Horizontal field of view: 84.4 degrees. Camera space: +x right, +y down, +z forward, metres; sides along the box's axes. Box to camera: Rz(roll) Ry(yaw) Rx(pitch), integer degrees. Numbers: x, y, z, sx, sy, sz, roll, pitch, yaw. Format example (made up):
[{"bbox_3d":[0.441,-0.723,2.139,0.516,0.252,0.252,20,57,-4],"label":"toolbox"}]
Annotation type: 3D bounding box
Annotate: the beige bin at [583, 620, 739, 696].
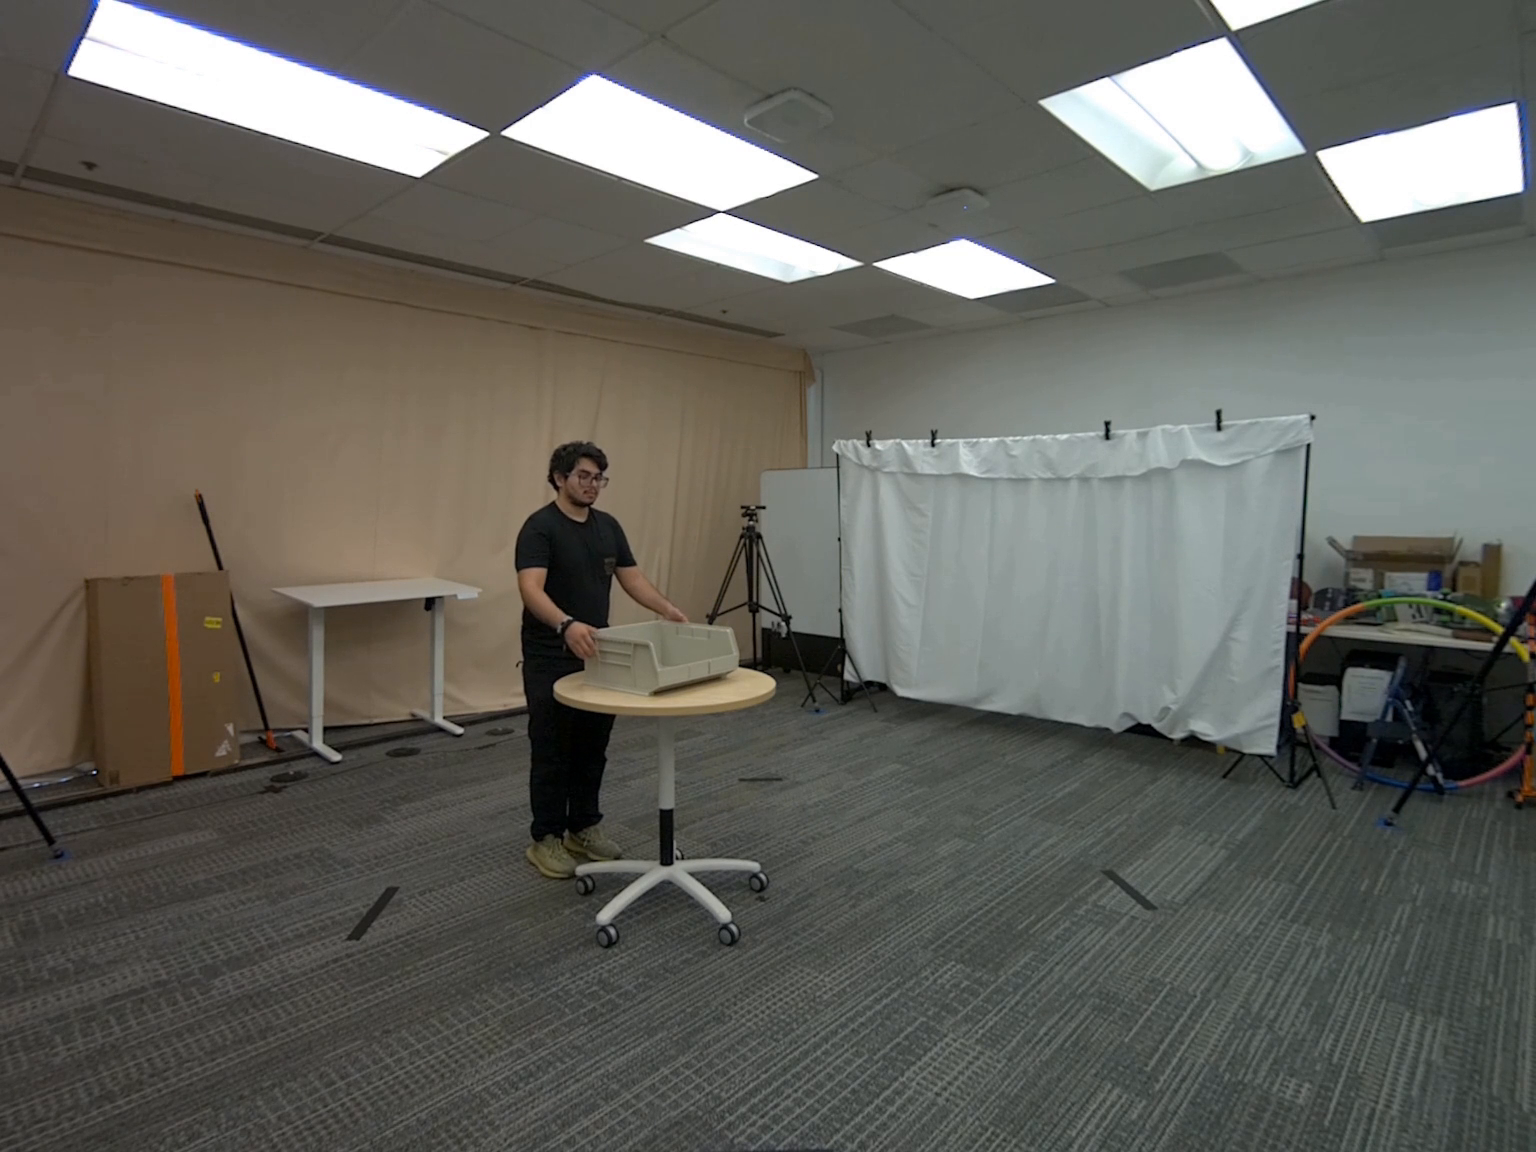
[{"bbox_3d":[-0.370,0.280,2.926,0.389,0.188,0.410,2,4,37],"label":"beige bin"}]
